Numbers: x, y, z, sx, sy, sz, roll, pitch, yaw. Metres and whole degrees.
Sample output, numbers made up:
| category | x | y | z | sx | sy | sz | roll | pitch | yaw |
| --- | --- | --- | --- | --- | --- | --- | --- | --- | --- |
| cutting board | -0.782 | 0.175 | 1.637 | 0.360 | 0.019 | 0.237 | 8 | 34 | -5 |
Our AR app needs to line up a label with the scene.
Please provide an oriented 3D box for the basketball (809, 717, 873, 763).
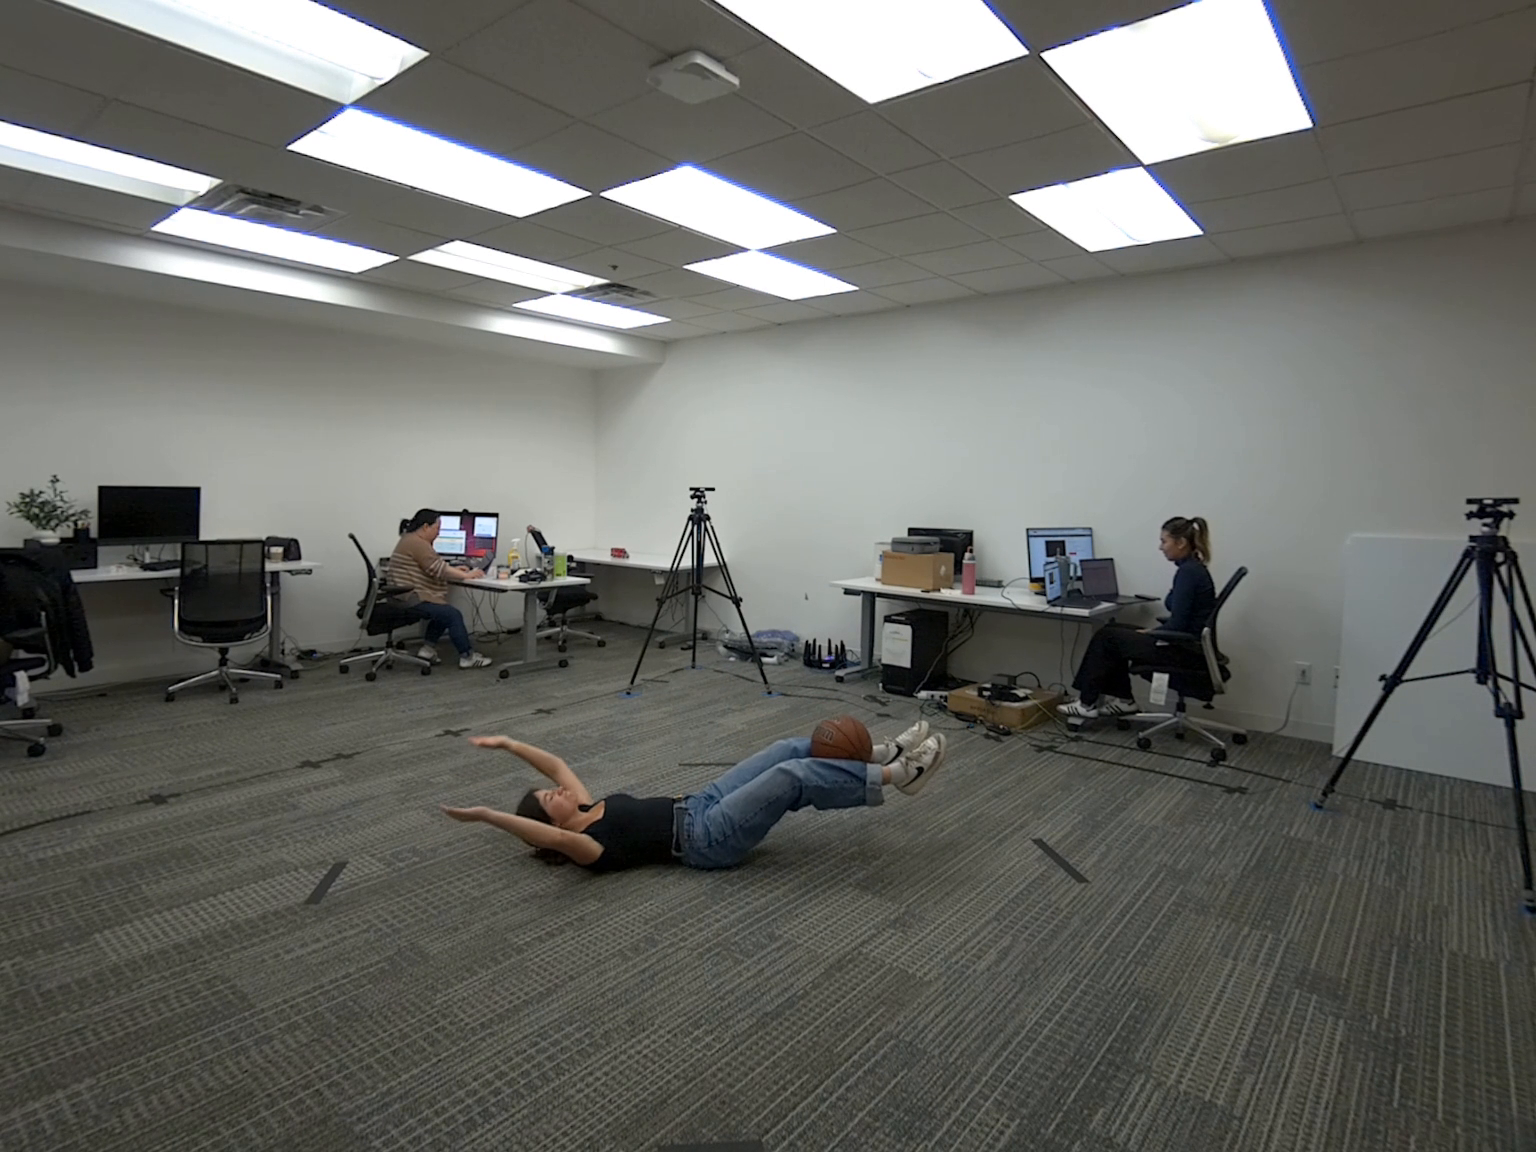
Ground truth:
| category | x | y | z | sx | sy | sz | roll | pitch | yaw |
| --- | --- | --- | --- | --- | --- | --- | --- | --- | --- |
| basketball | 0.270 | 0.651 | 3.288 | 0.235 | 0.235 | 0.237 | 1 | 4 | -2 |
